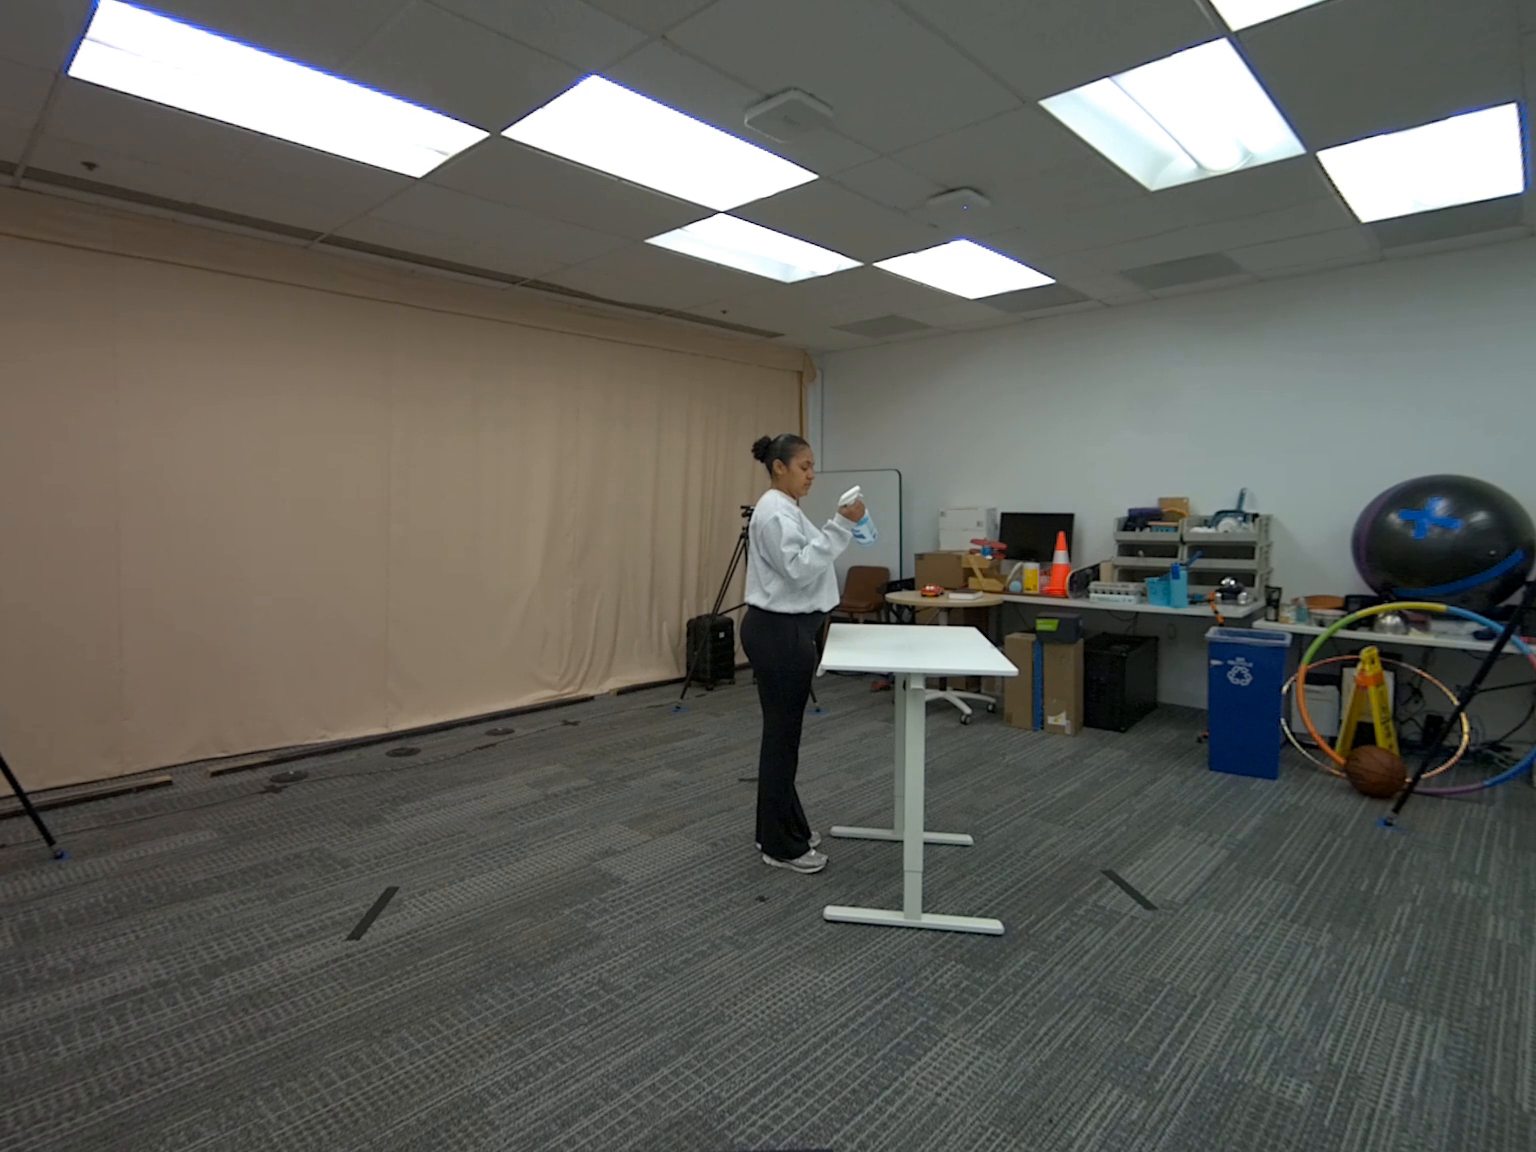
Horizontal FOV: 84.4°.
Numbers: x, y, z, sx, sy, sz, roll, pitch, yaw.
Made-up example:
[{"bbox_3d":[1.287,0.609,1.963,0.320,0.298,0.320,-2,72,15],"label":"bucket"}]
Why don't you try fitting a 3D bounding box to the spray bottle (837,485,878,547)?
[{"bbox_3d":[0.330,-0.214,3.077,0.091,0.088,0.288,-11,-35,15],"label":"spray bottle"}]
